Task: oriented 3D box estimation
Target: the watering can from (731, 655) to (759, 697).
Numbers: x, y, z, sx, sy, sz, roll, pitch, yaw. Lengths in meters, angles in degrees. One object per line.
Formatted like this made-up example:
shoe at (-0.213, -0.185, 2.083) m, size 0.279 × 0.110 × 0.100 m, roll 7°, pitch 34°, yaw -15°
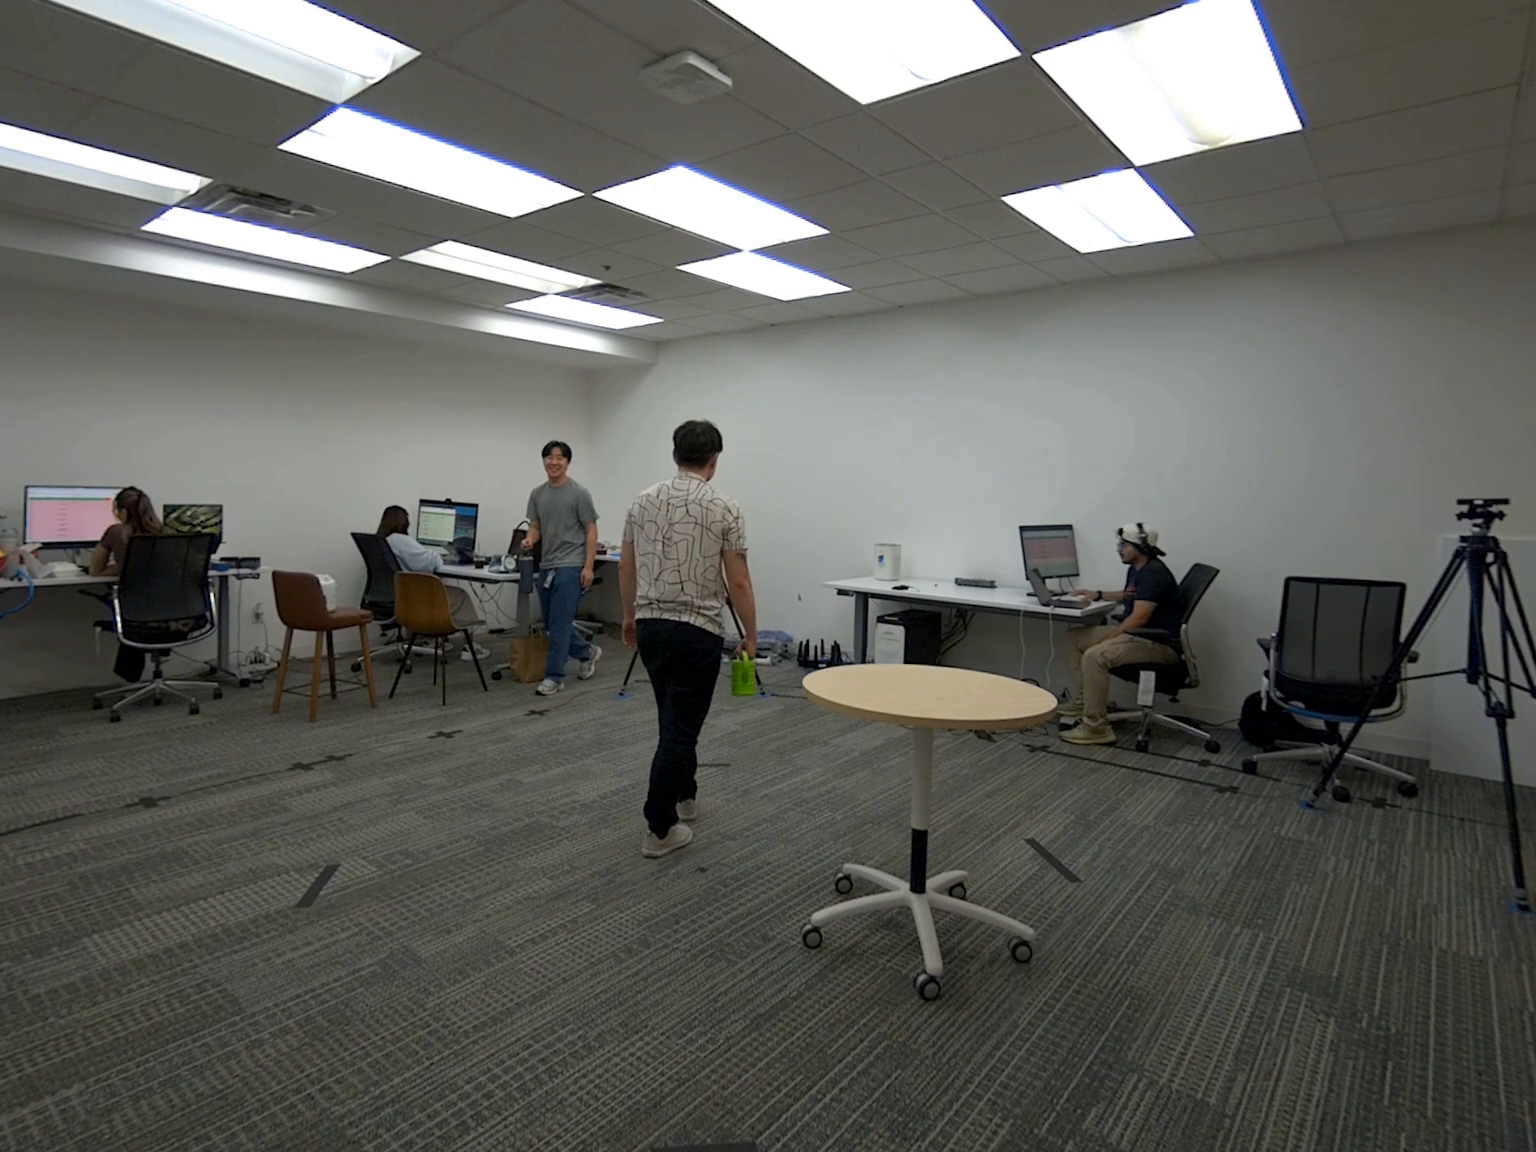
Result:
watering can at (-0.111, 0.382, 3.398) m, size 0.098 × 0.178 × 0.276 m, roll -1°, pitch -6°, yaw 1°
